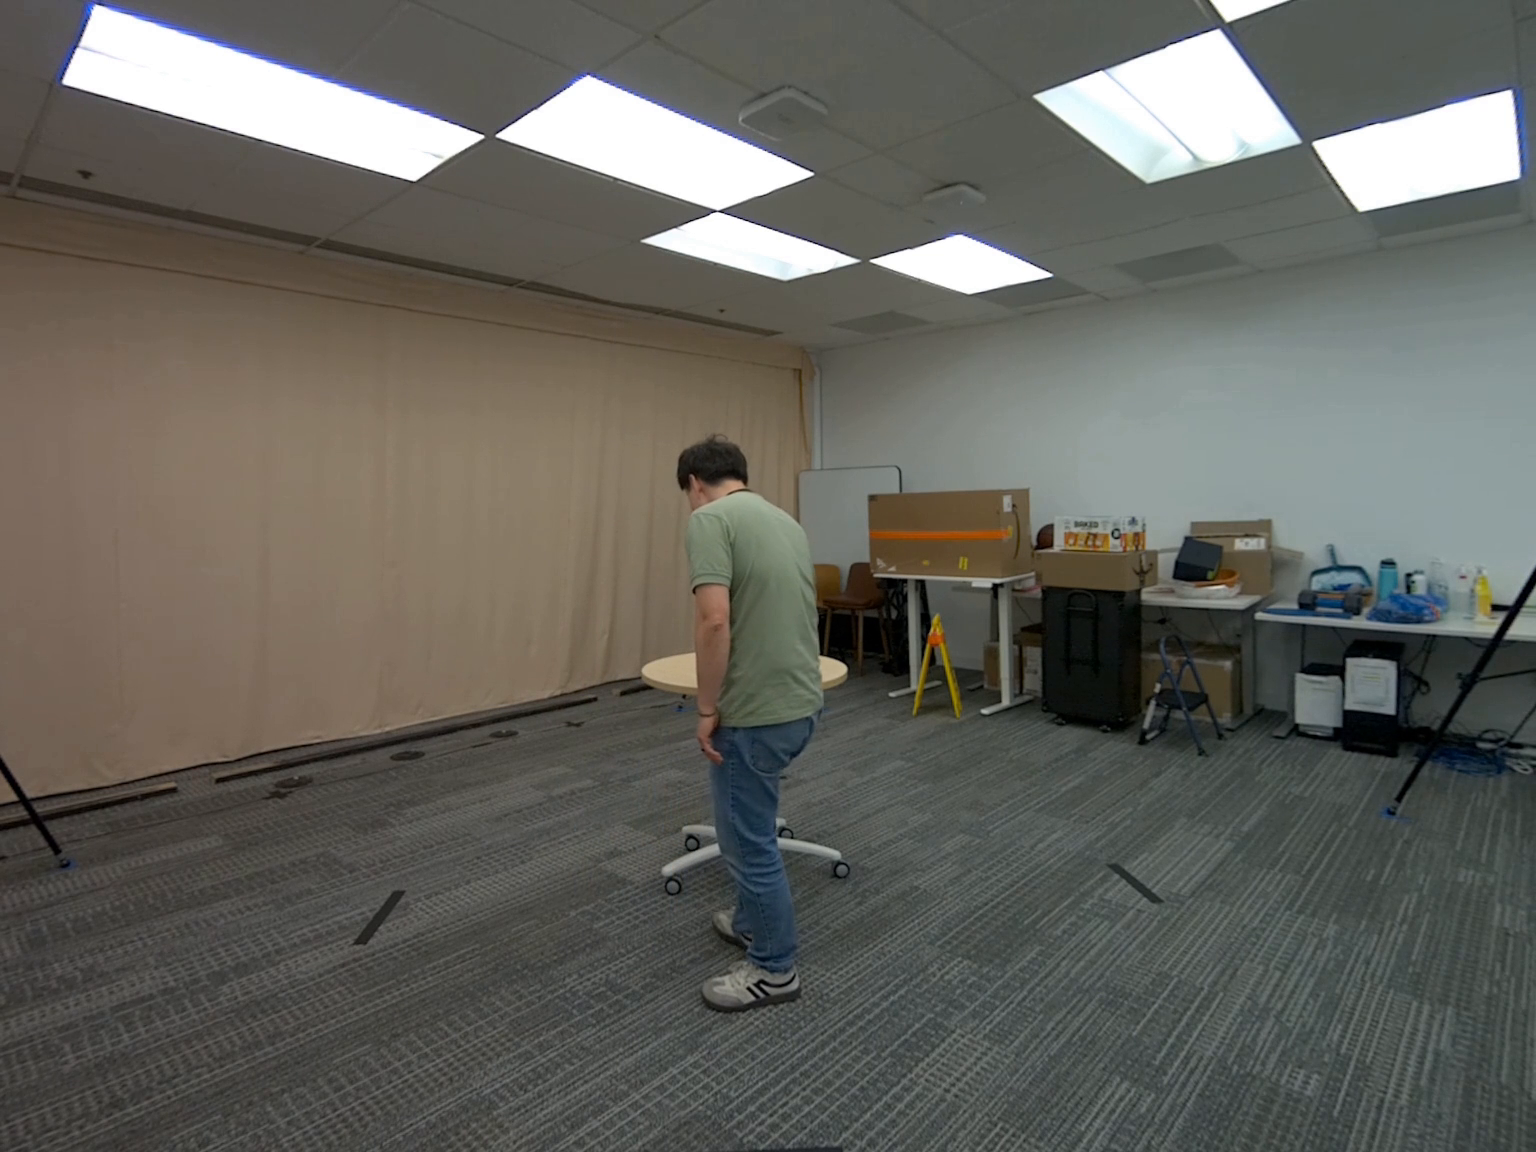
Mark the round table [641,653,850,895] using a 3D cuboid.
[{"bbox_3d":[-0.080,0.736,3.171,0.763,0.792,0.767,-1,4,-2],"label":"round table"}]
